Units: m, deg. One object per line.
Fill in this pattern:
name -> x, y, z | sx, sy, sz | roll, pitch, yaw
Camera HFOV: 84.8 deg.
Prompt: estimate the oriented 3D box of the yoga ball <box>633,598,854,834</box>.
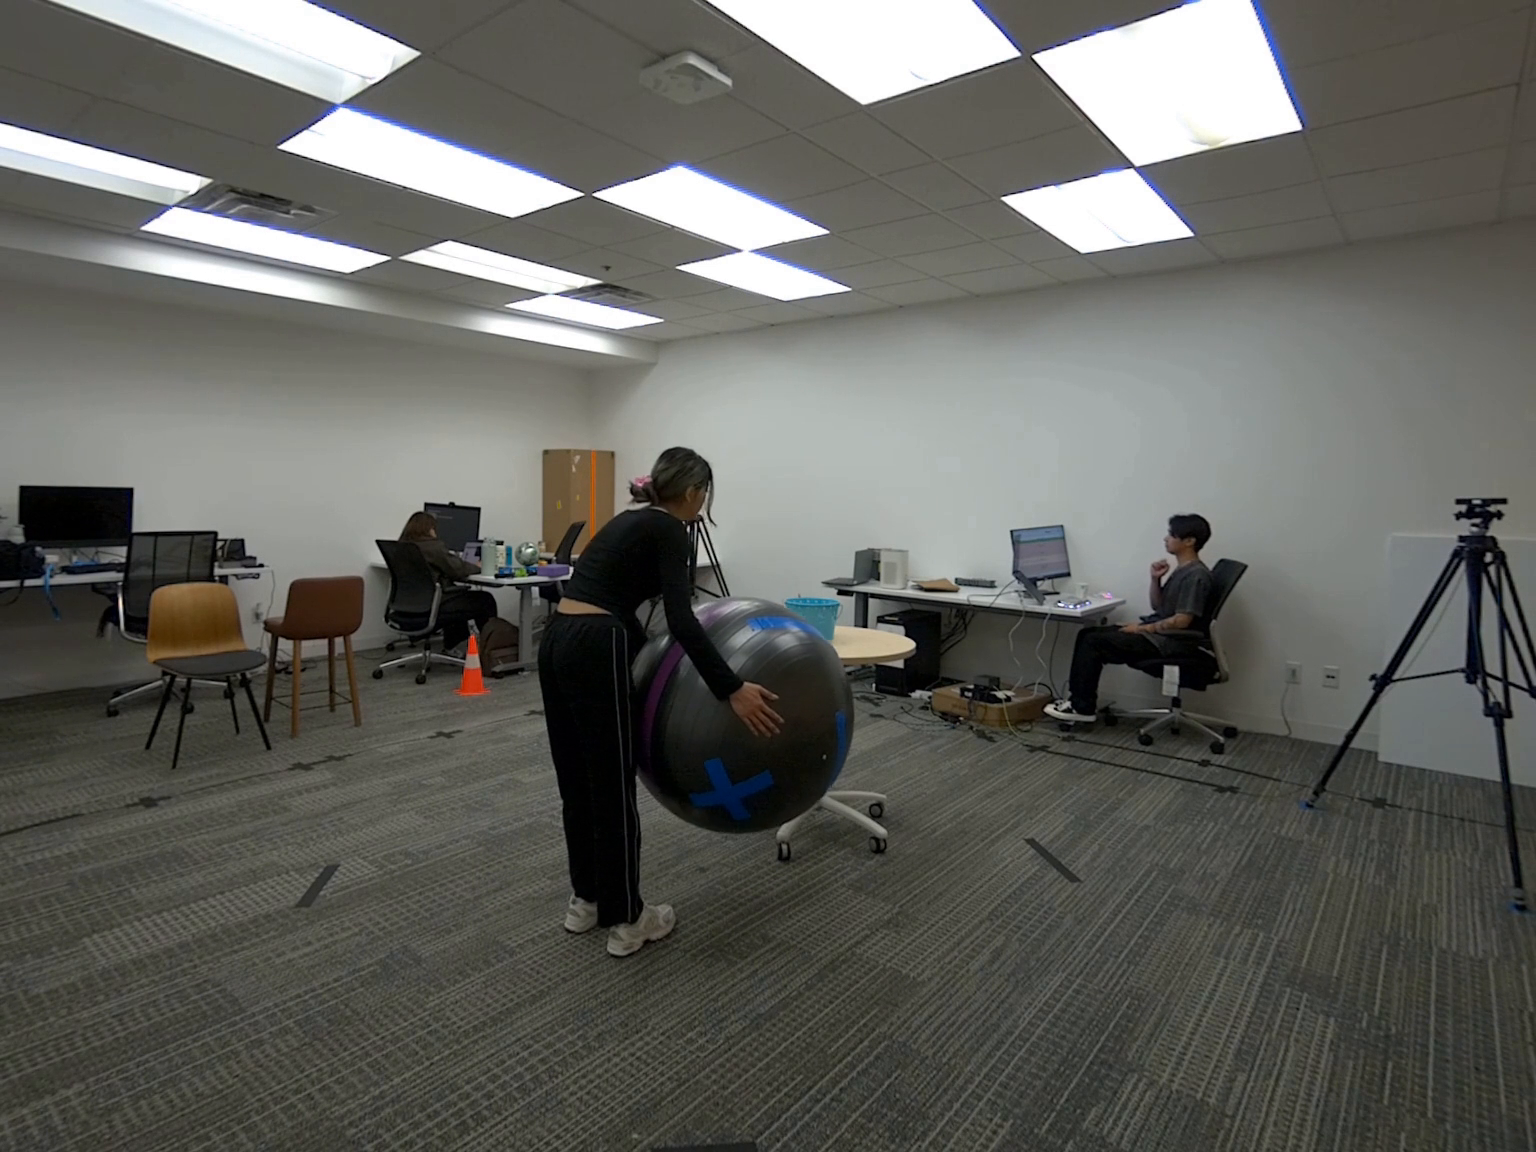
yoga ball -> -0.094, 0.443, 2.797 | 0.757, 0.756, 0.762 | 1, 4, -2
